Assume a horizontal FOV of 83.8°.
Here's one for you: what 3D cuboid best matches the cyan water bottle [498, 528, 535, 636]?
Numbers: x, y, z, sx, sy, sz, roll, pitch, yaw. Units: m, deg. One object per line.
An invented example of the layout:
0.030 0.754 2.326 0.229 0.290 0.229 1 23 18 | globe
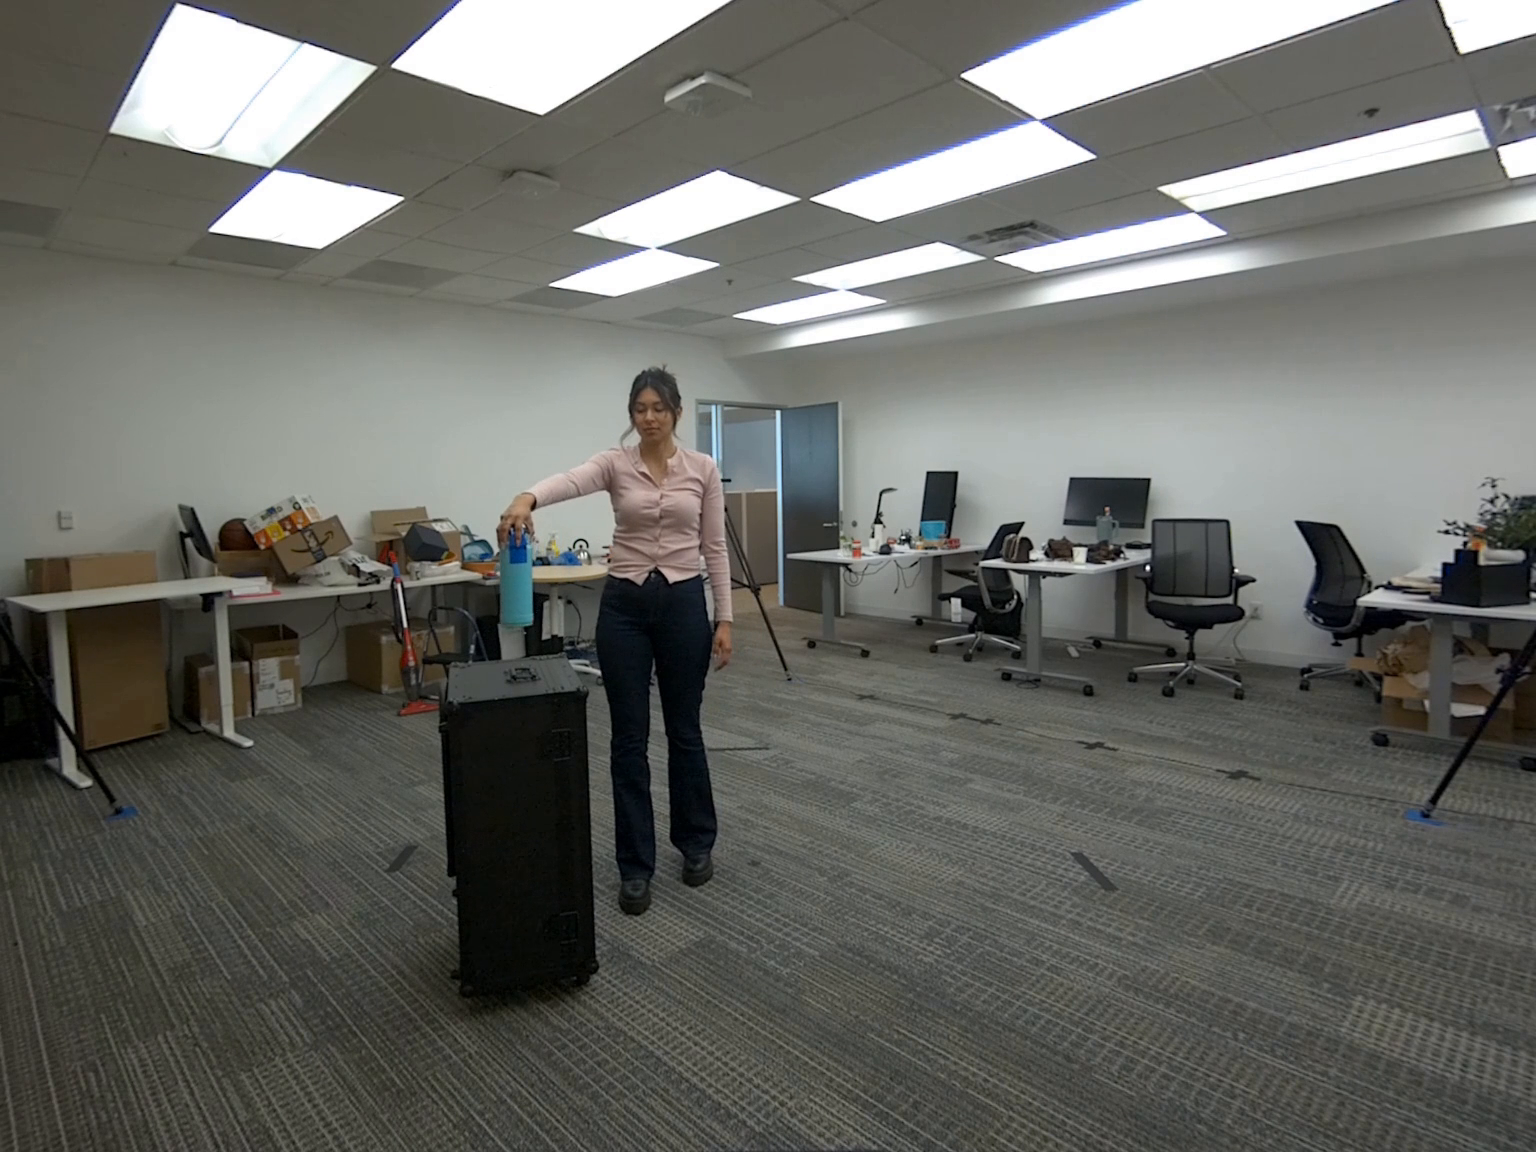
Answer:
-0.696 -0.004 2.383 0.092 0.283 0.092 1 1 -2 | cyan water bottle
